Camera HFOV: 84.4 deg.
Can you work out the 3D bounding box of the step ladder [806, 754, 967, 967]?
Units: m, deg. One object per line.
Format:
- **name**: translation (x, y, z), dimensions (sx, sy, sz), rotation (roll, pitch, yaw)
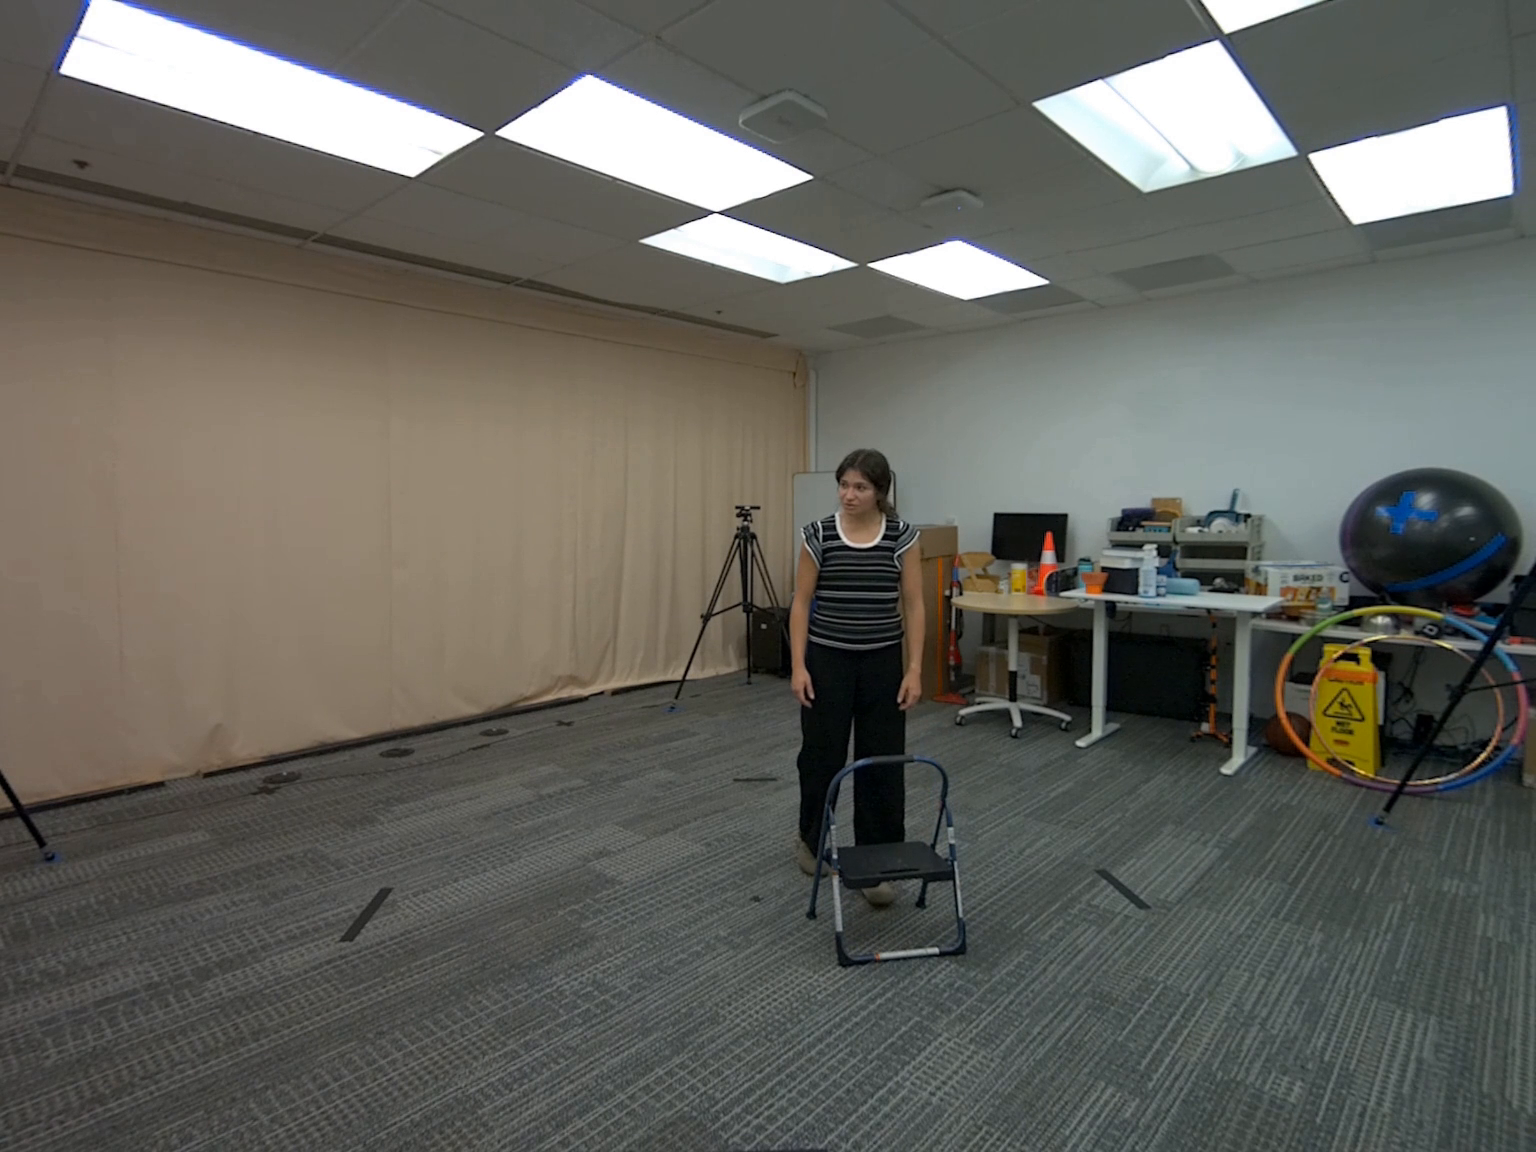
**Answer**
- **step ladder**: translation (0.379, 0.859, 2.724), dimensions (0.425, 0.605, 0.354), rotation (-1, 3, -13)
